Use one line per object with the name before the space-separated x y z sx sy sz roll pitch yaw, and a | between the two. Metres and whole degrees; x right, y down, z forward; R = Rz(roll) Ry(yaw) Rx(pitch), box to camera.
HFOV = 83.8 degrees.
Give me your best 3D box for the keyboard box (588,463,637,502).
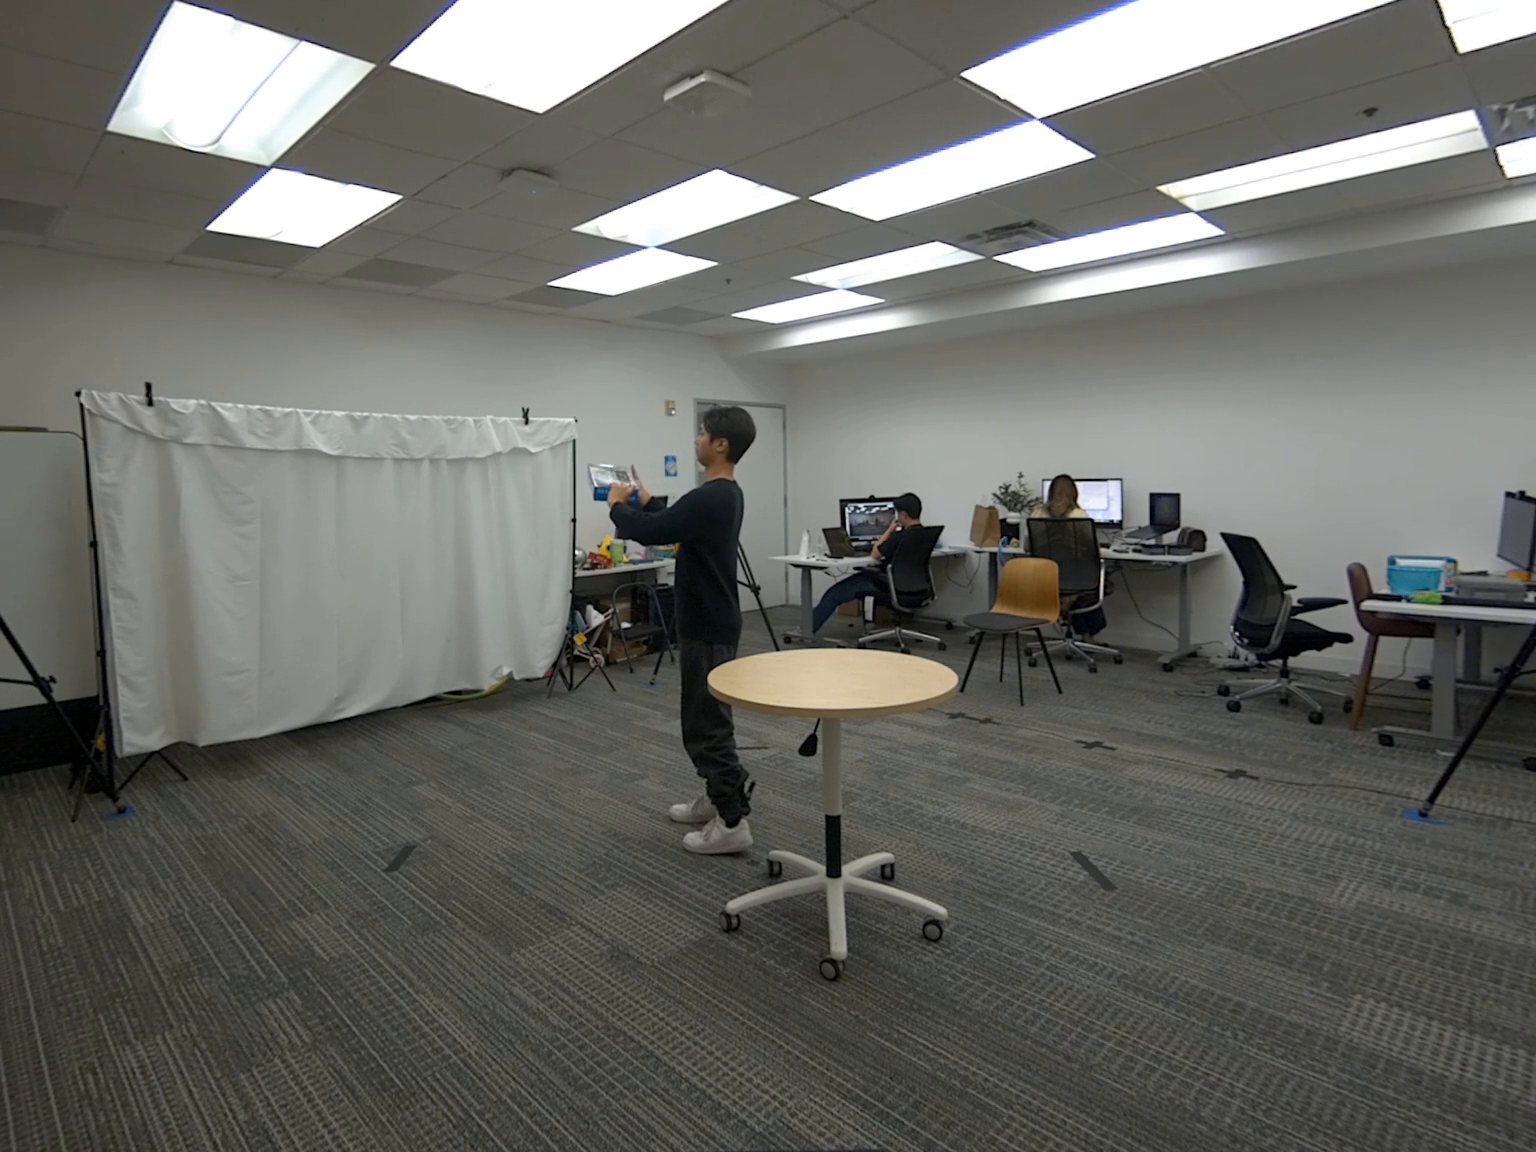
keyboard box | -0.645 -0.389 3.527 0.174 0.058 0.448 1 19 -14
